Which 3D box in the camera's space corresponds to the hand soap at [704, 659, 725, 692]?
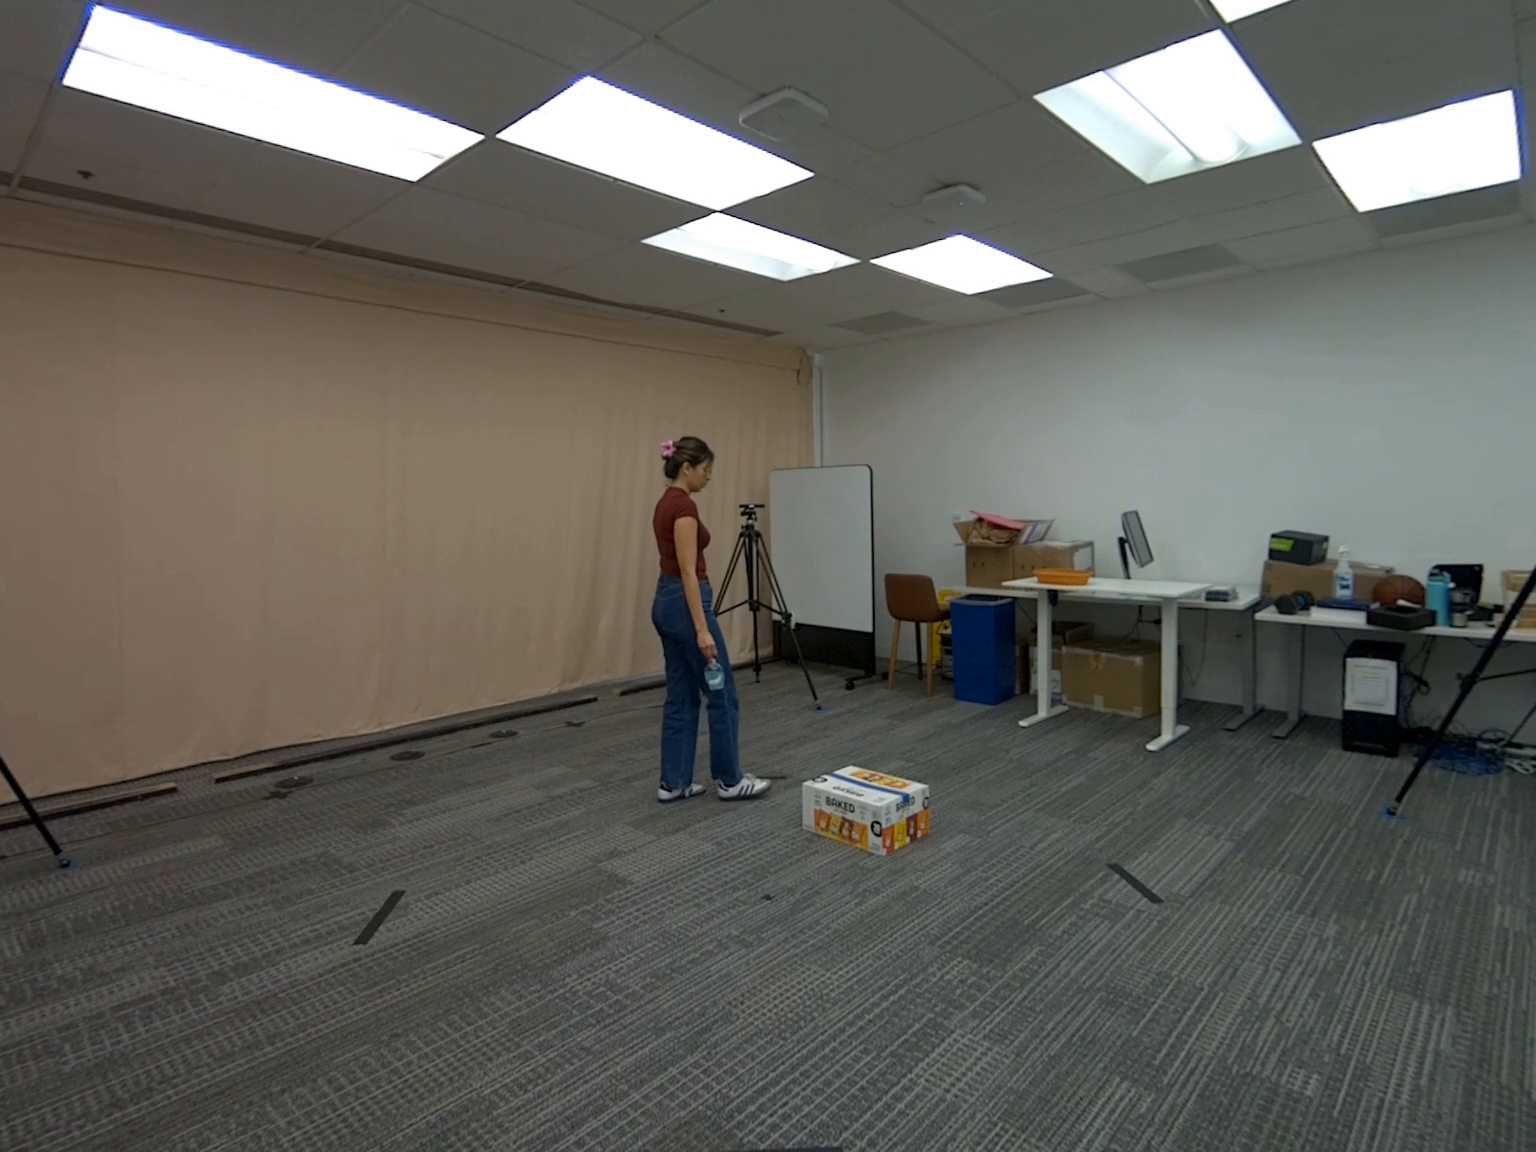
[{"bbox_3d":[-0.257,0.415,3.725,0.084,0.167,0.044,-10,5,-3],"label":"hand soap"}]
